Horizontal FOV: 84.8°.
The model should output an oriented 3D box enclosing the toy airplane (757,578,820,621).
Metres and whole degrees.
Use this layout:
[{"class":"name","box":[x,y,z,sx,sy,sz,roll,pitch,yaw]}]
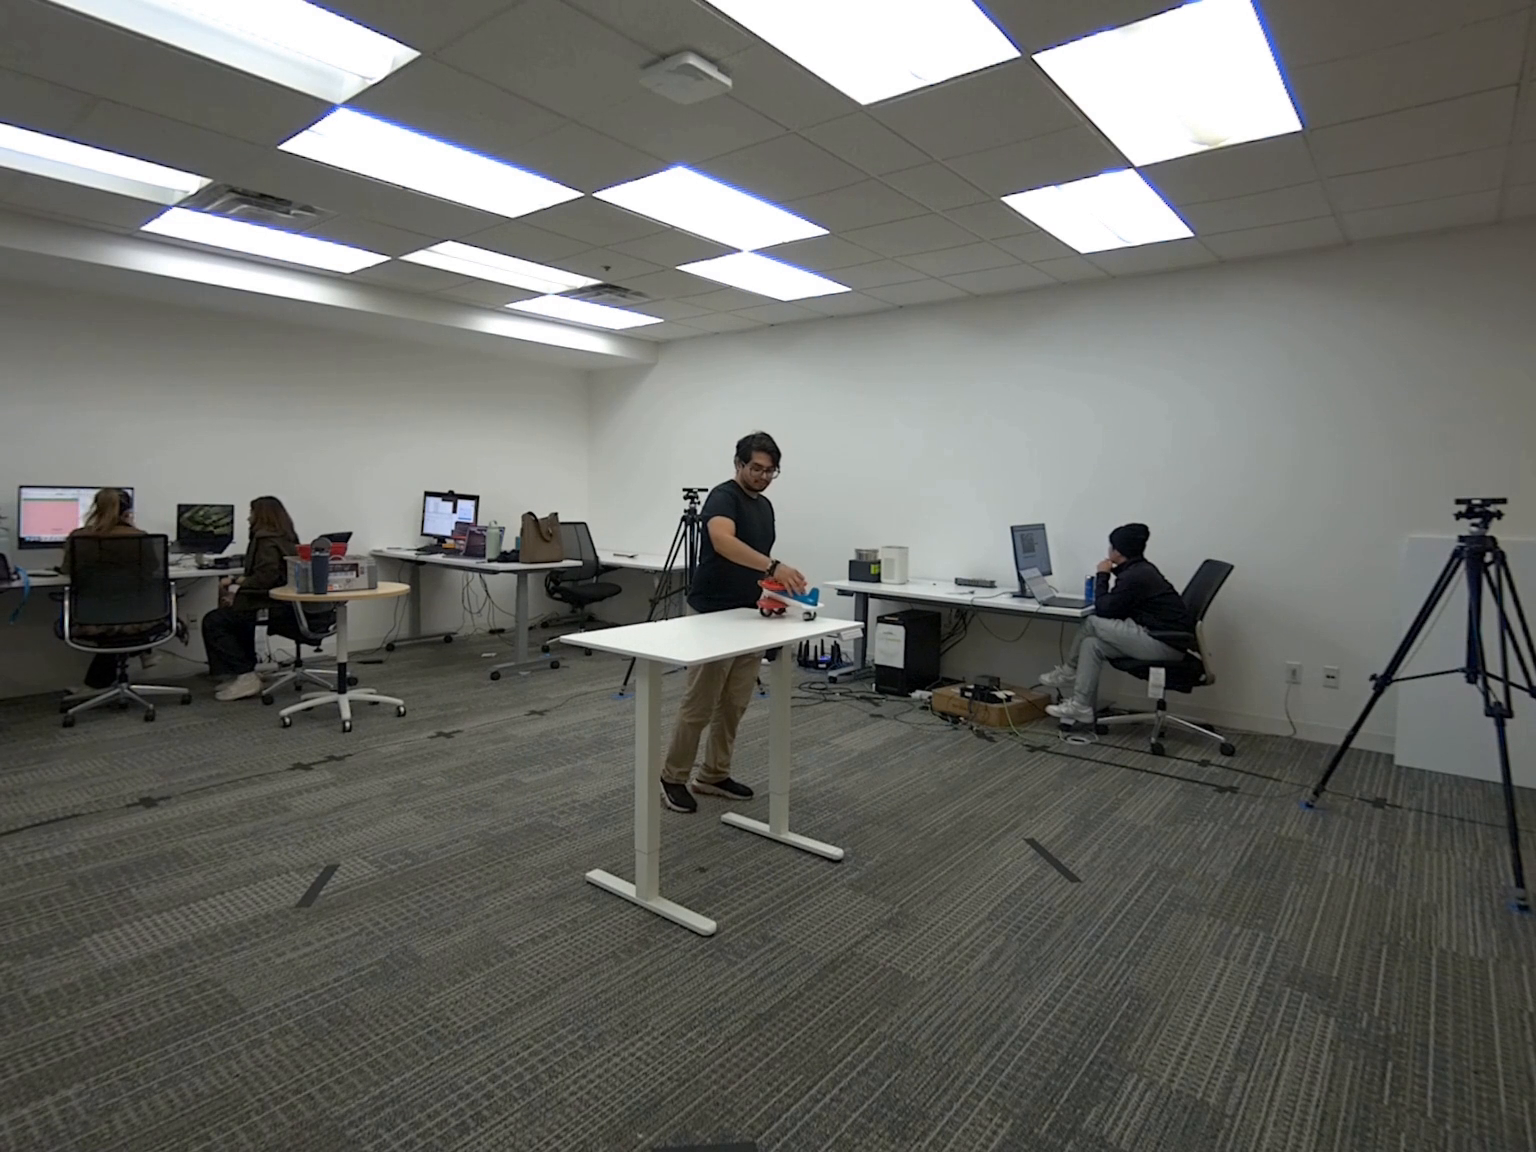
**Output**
[{"class":"toy airplane","box":[0.083,0.085,3.388,0.262,0.156,0.249,0,6,10]}]
